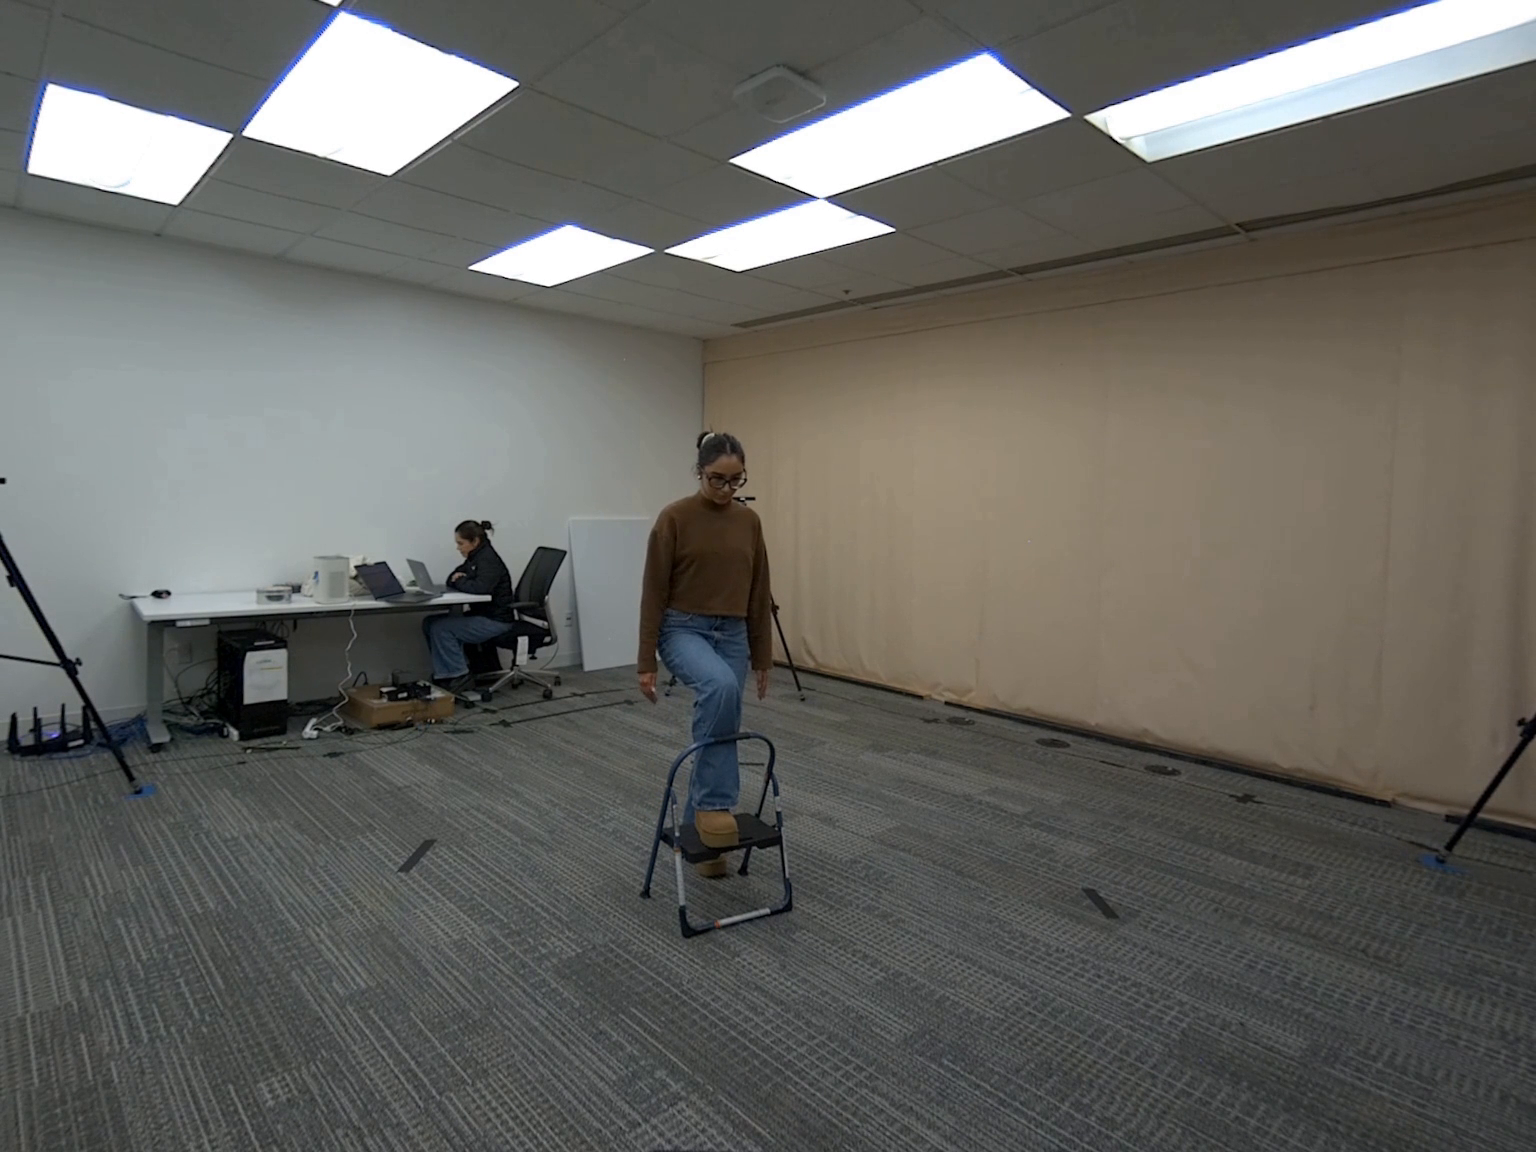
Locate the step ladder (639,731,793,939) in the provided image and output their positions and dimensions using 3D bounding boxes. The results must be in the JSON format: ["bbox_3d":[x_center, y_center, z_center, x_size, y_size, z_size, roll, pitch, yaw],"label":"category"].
[{"bbox_3d":[-0.177,0.824,2.879,0.422,0.604,0.357,-1,5,-32],"label":"step ladder"}]
